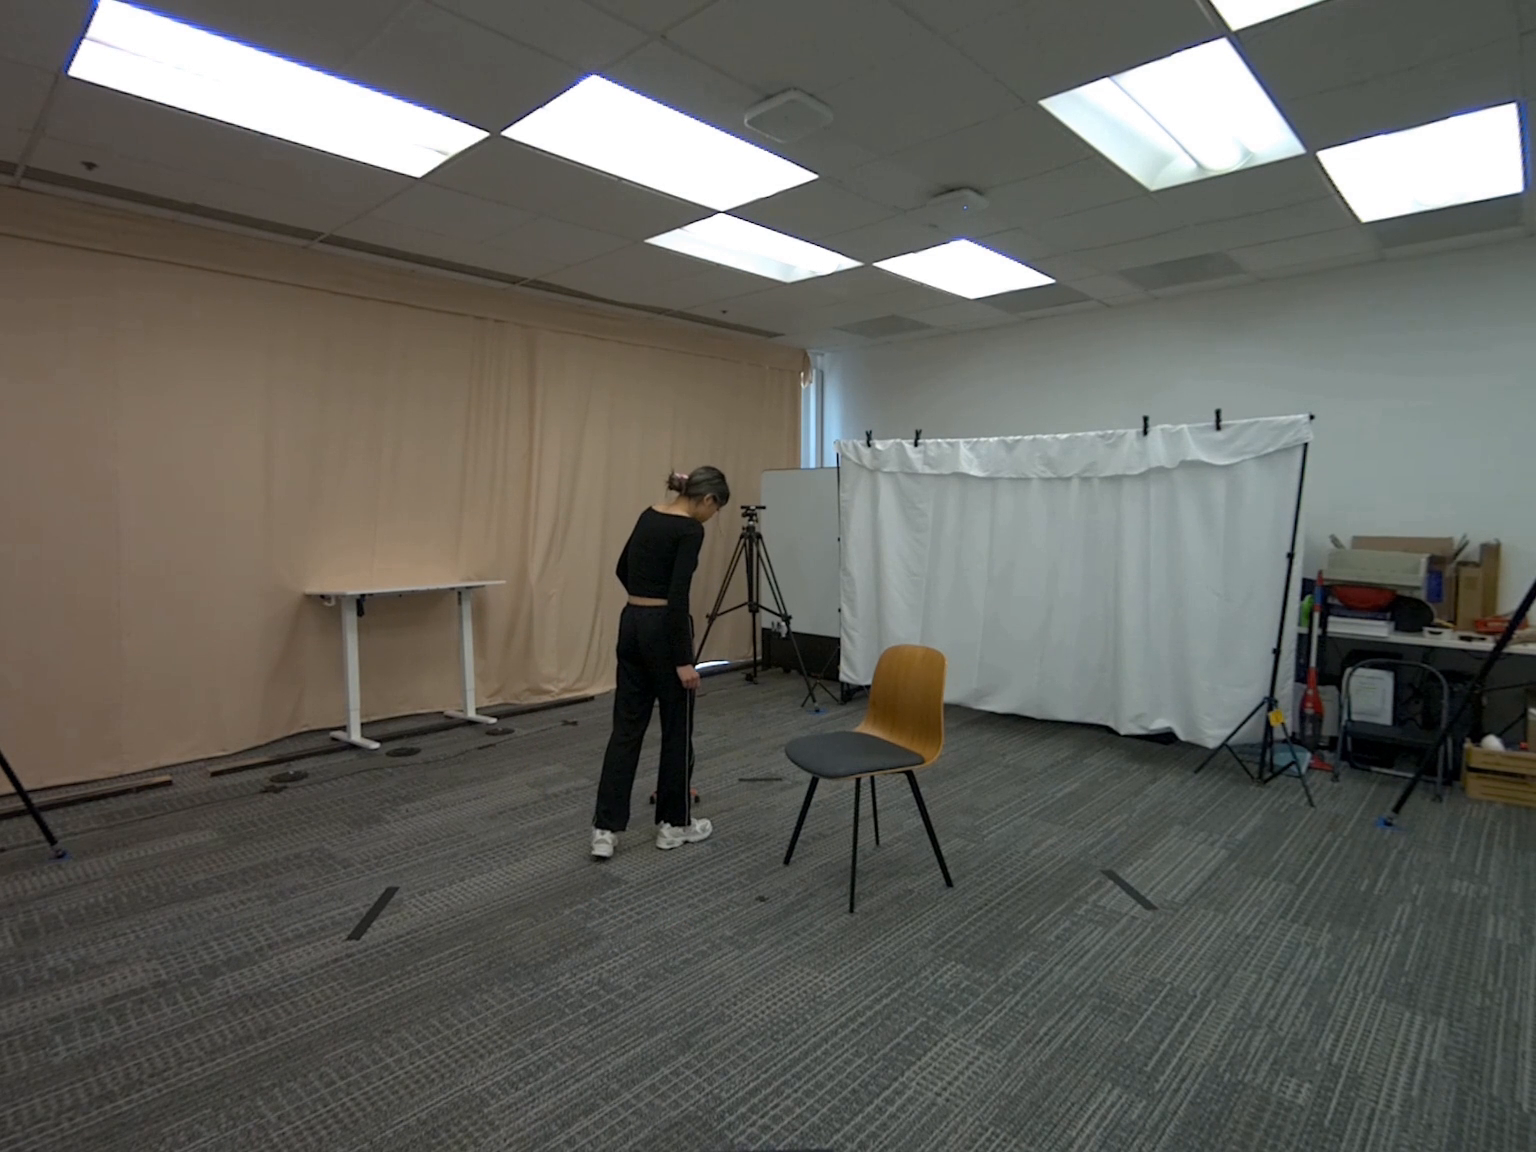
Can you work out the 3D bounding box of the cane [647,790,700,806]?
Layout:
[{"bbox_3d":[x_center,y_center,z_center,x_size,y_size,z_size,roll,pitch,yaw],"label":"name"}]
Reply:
[{"bbox_3d":[-0.462,0.612,3.891,0.201,0.904,0.156,-6,7,-27],"label":"cane"}]
